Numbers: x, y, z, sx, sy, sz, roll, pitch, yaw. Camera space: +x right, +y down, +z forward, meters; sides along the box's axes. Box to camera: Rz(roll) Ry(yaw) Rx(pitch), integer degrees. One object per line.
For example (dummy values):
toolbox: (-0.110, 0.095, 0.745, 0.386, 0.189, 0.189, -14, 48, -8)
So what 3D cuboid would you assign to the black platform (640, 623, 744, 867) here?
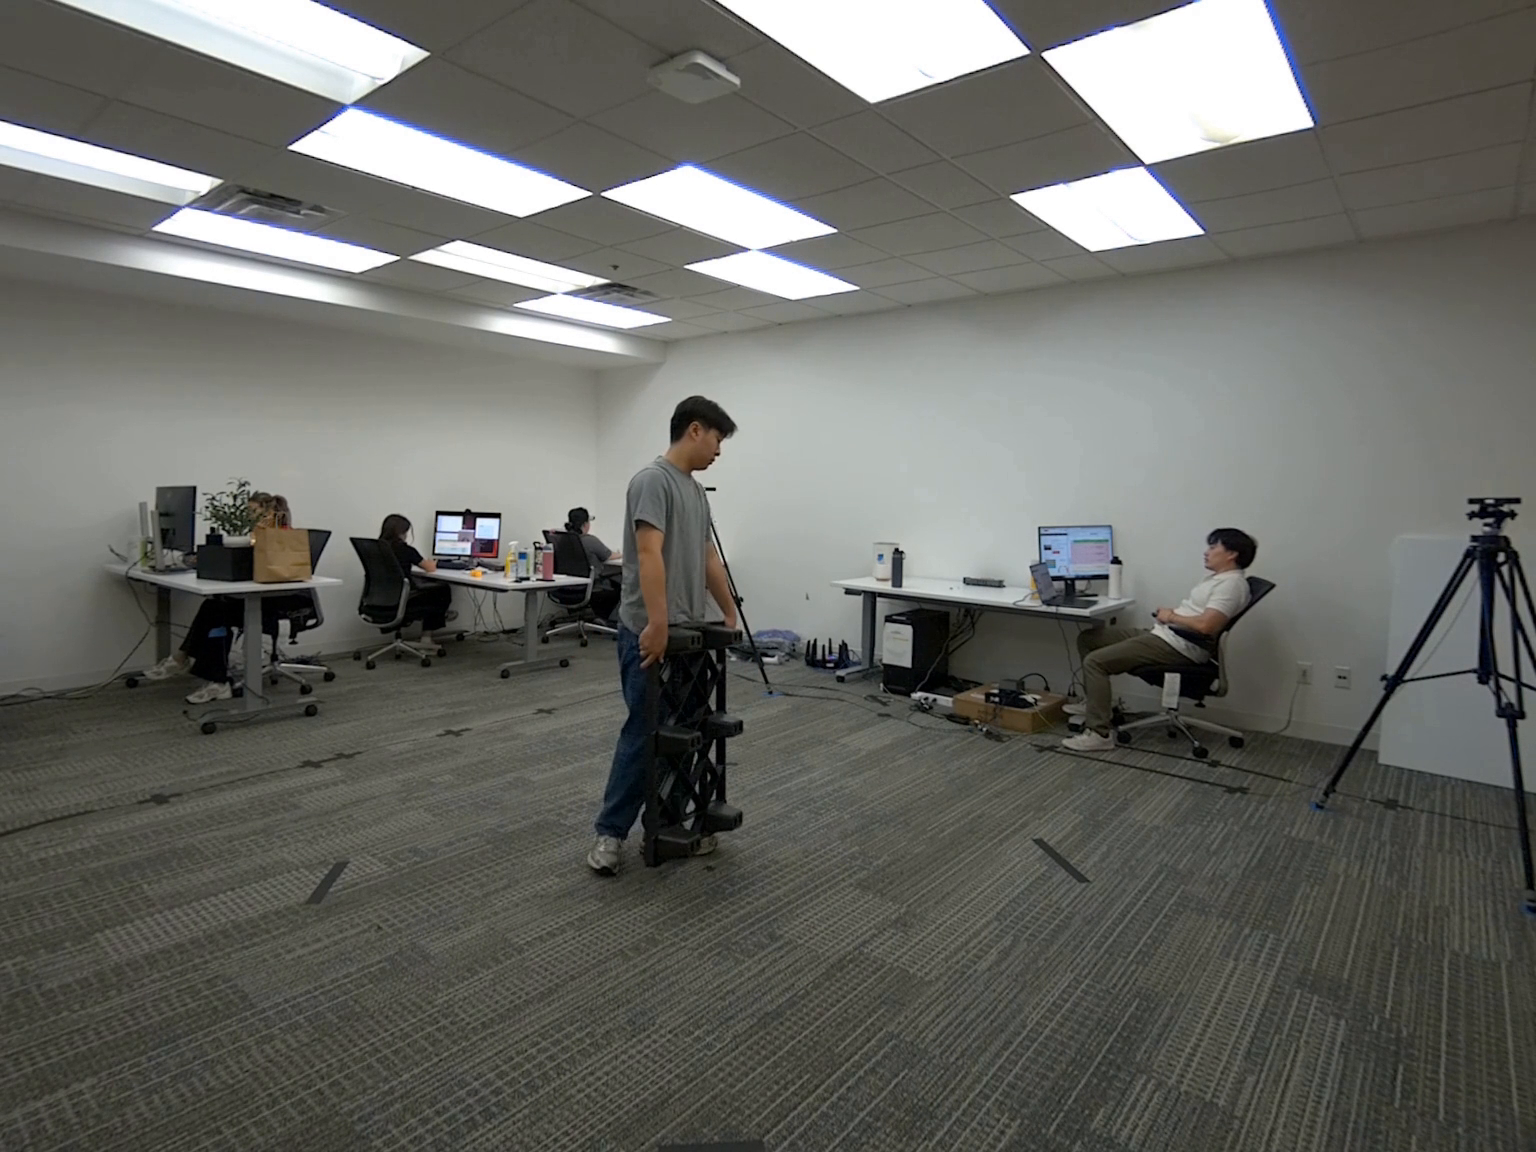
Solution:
black platform: (-0.244, 0.577, 3.081, 0.146, 0.809, 0.589, -1, -5, 22)
